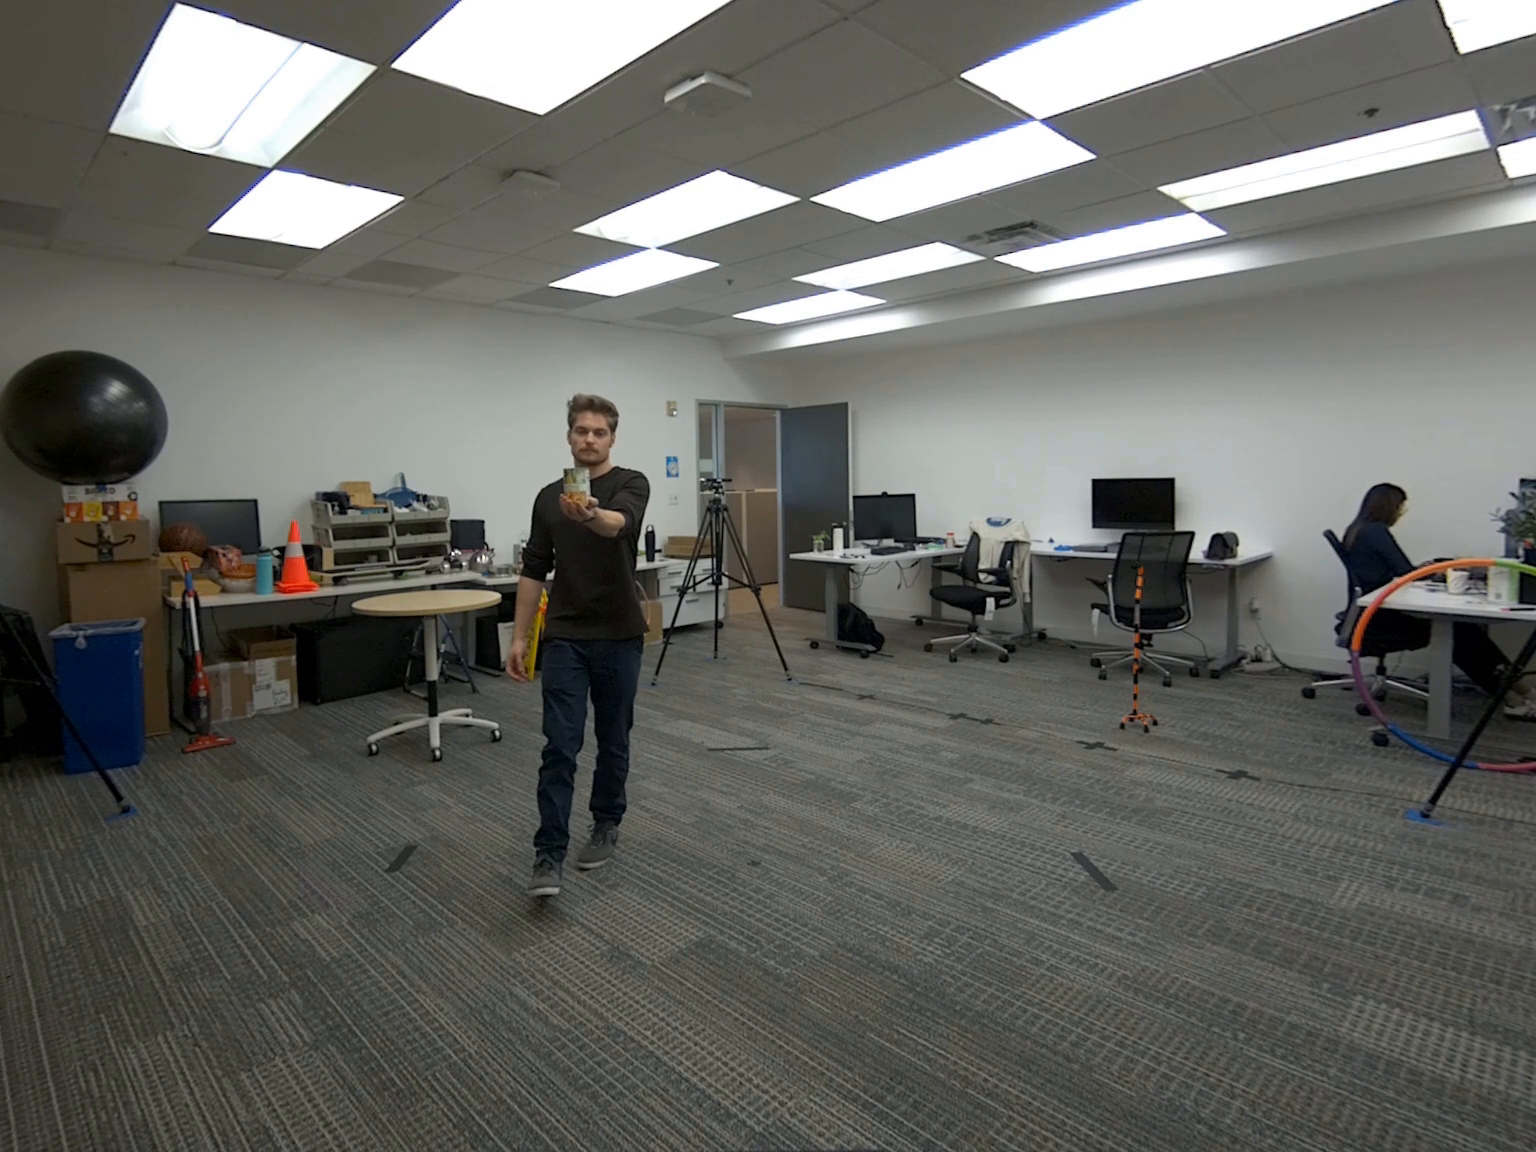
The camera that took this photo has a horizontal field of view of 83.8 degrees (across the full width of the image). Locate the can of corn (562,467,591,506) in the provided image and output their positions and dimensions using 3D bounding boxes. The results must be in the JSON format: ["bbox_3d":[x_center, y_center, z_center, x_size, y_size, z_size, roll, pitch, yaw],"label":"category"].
[{"bbox_3d":[-0.567,-0.256,2.483,0.074,0.111,0.074,-3,4,-1],"label":"can of corn"}]
